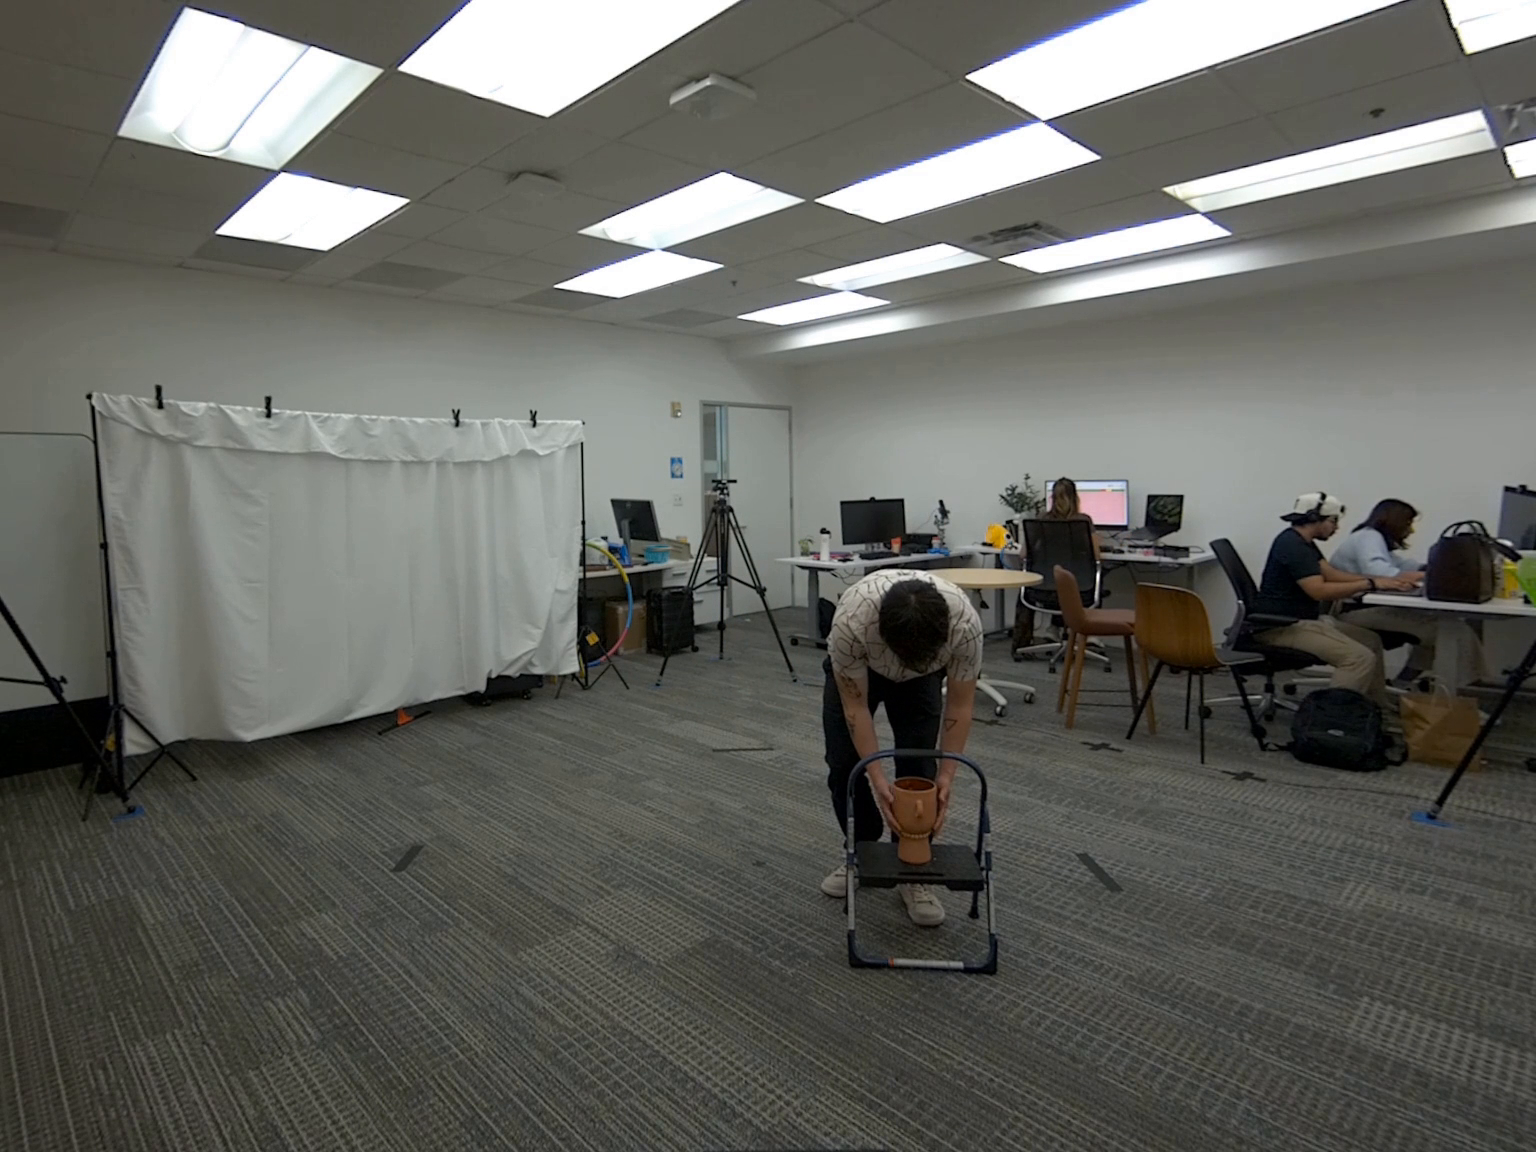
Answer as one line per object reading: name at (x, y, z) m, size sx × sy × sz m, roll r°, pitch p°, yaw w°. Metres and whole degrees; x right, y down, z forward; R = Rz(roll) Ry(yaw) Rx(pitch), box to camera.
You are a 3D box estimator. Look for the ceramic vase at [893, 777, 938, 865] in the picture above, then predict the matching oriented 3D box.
ceramic vase at (0.425, 0.723, 2.558) m, size 0.138 × 0.218 × 0.155 m, roll 2°, pitch 10°, yaw 35°
